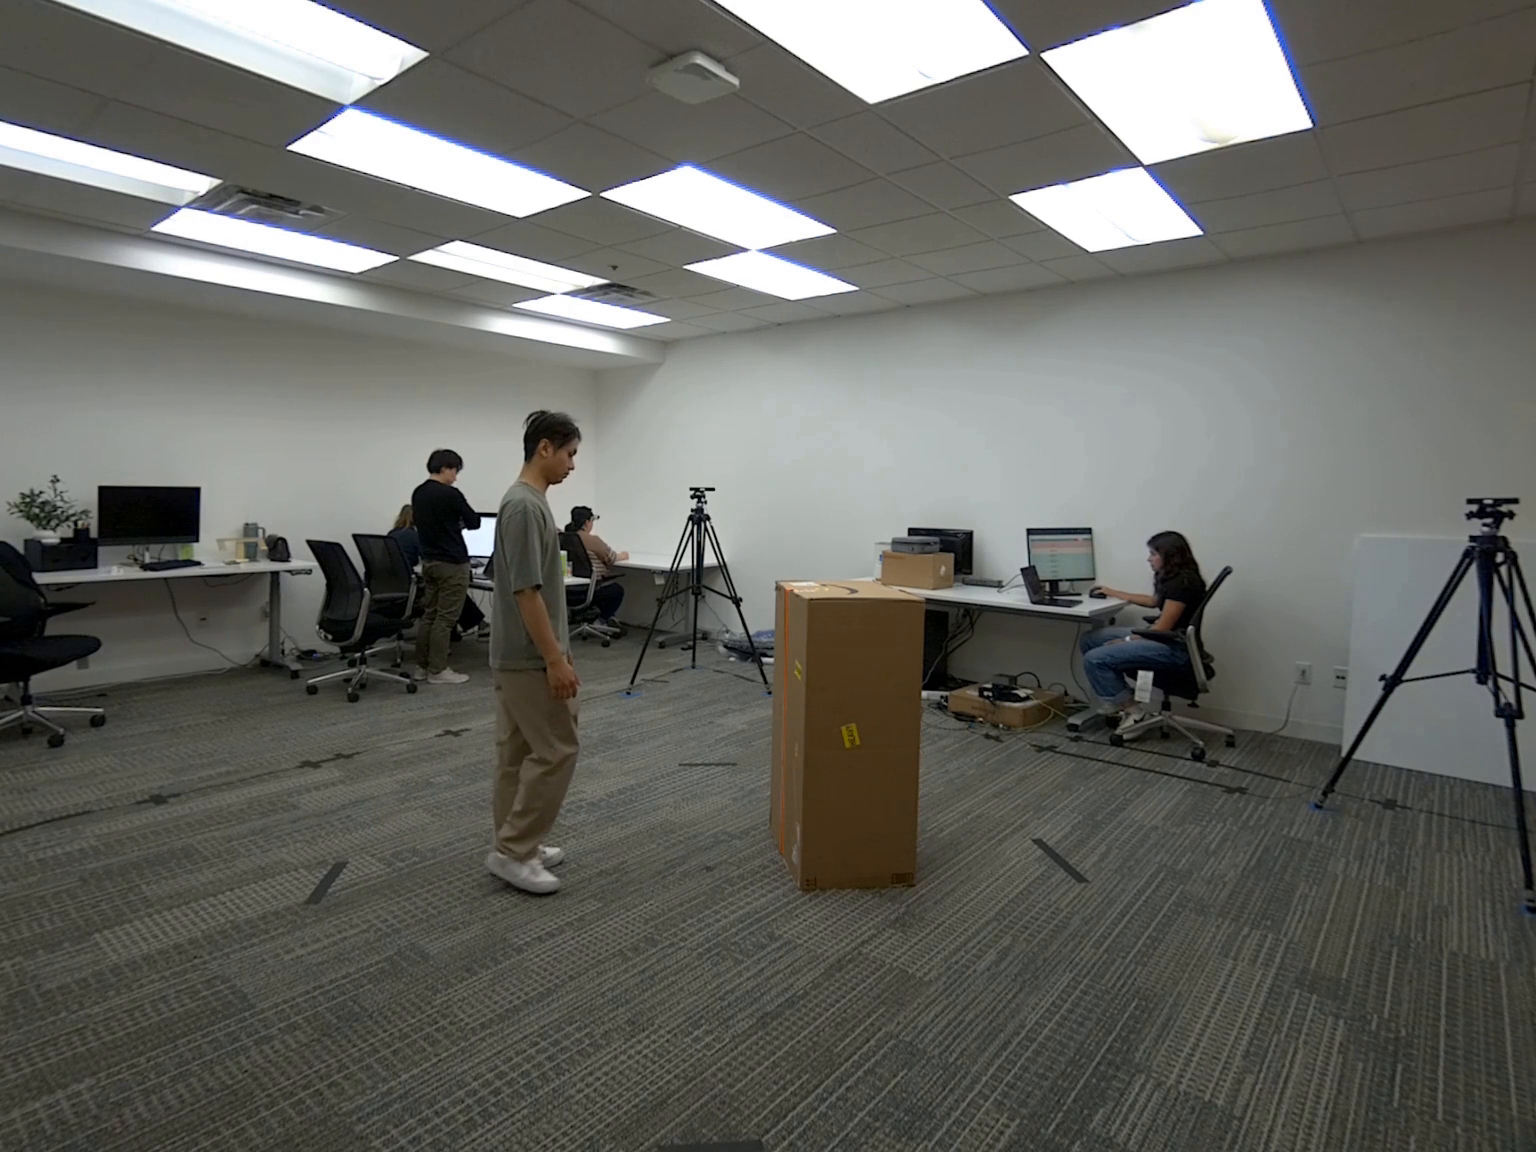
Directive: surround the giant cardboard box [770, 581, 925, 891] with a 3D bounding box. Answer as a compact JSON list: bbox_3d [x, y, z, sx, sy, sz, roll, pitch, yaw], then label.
[{"bbox_3d":[0.267,0.558,3.231,0.422,1.023,0.585,1,4,-11],"label":"giant cardboard box"}]
